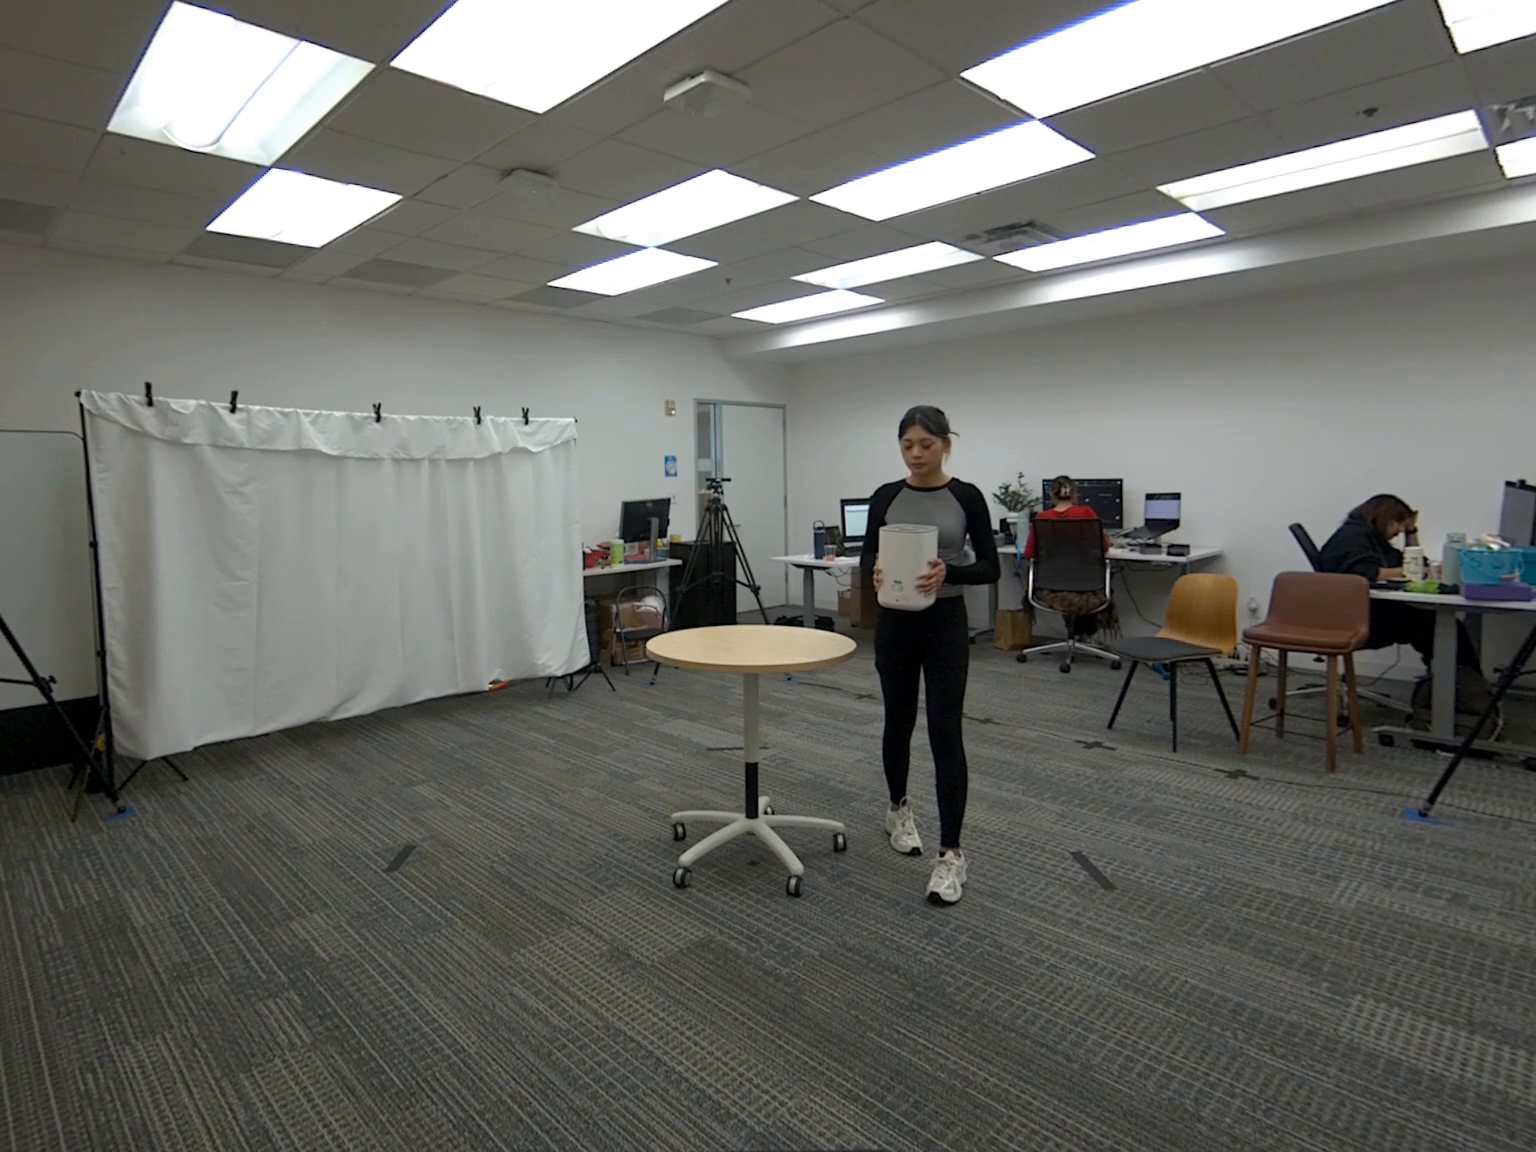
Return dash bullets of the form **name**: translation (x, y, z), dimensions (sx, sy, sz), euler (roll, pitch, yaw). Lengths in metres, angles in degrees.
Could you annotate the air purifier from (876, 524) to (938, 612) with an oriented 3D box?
- **air purifier**: translation (0.457, -0.027, 2.841), dimensions (0.176, 0.263, 0.168), euler (5, 9, 29)
